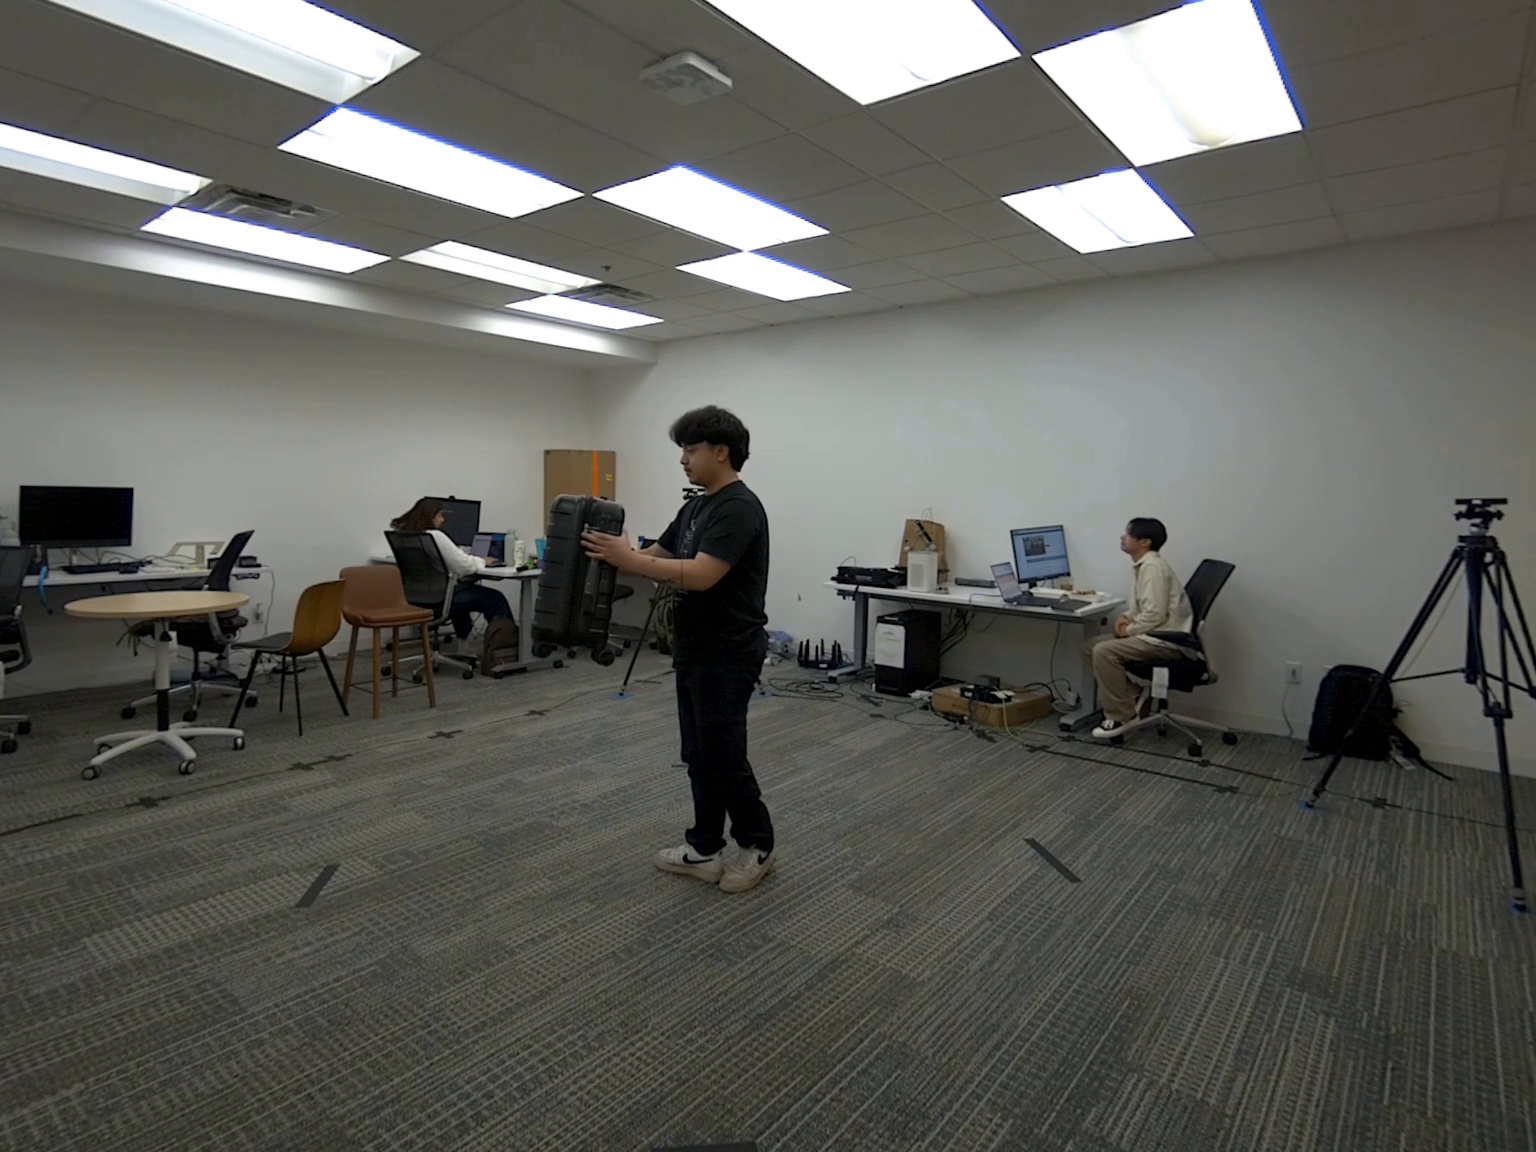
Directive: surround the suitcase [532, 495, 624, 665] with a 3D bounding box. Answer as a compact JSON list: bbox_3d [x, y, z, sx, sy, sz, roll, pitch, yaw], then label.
[{"bbox_3d":[-0.654,-0.003,2.887,0.245,0.552,0.379,8,-4,-12],"label":"suitcase"}]
